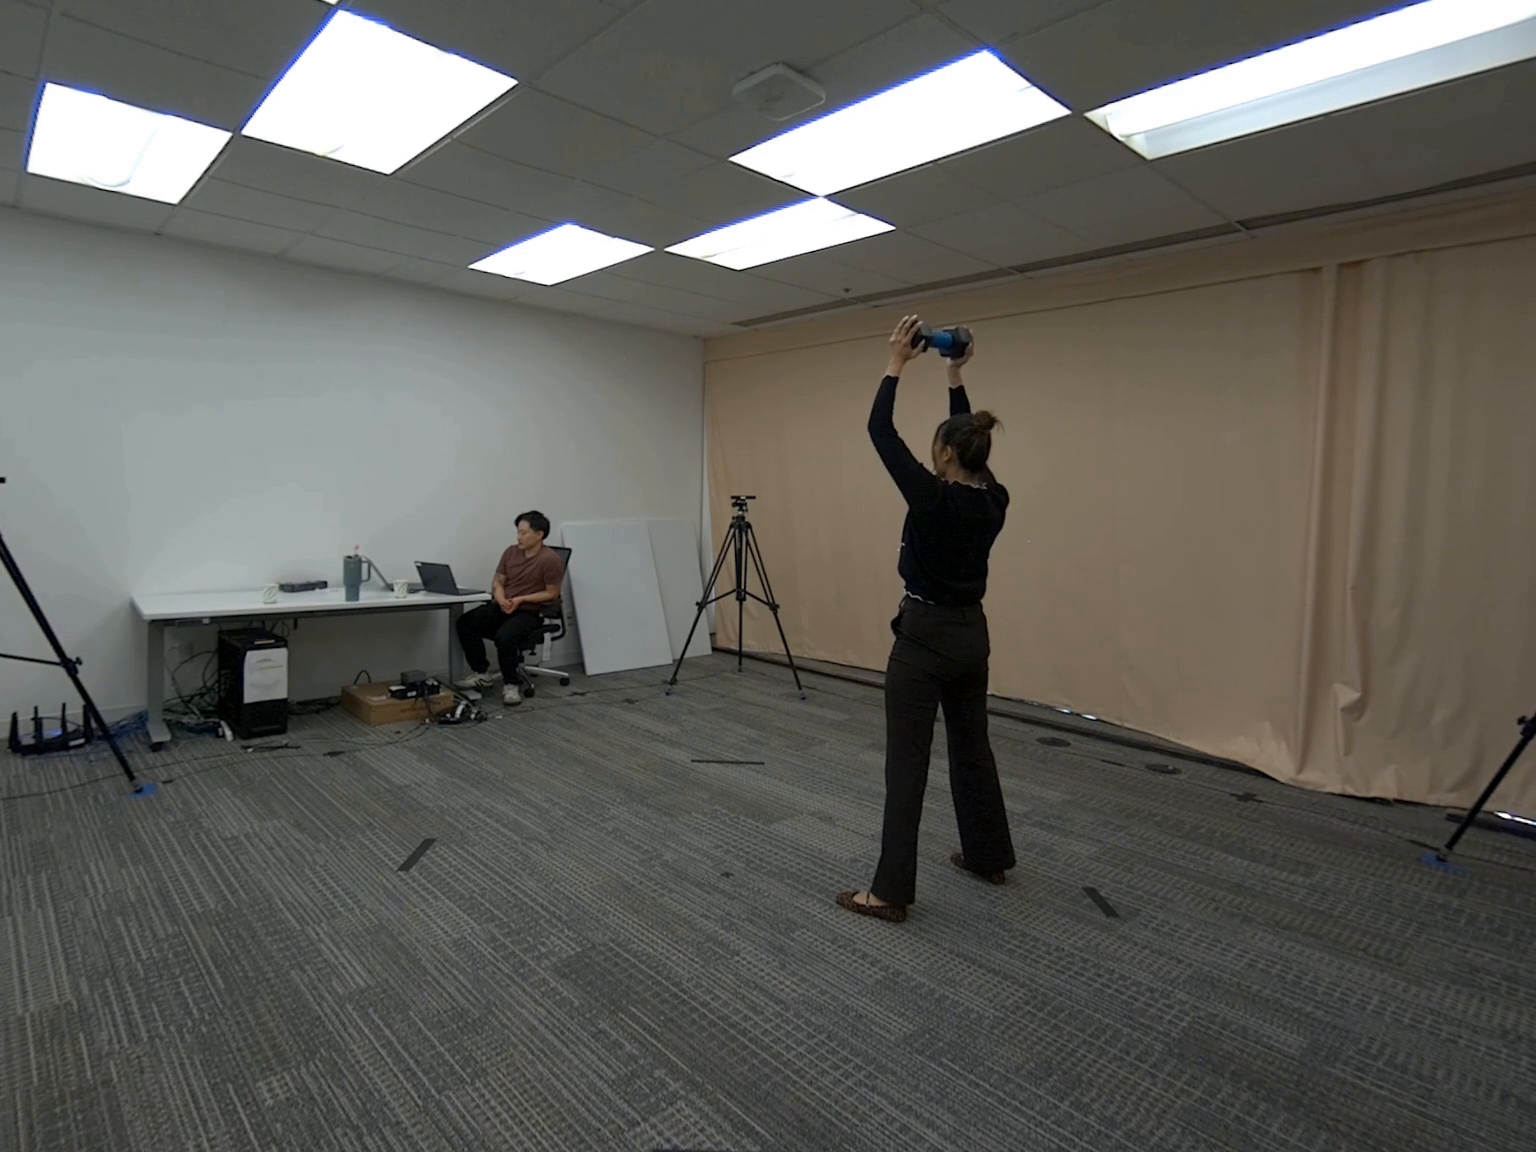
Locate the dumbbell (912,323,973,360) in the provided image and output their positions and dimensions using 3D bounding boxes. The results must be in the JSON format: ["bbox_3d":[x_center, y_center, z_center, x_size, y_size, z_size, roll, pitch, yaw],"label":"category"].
[{"bbox_3d":[0.590,-0.831,2.987,0.287,0.122,0.112,-4,48,-37],"label":"dumbbell"}]
